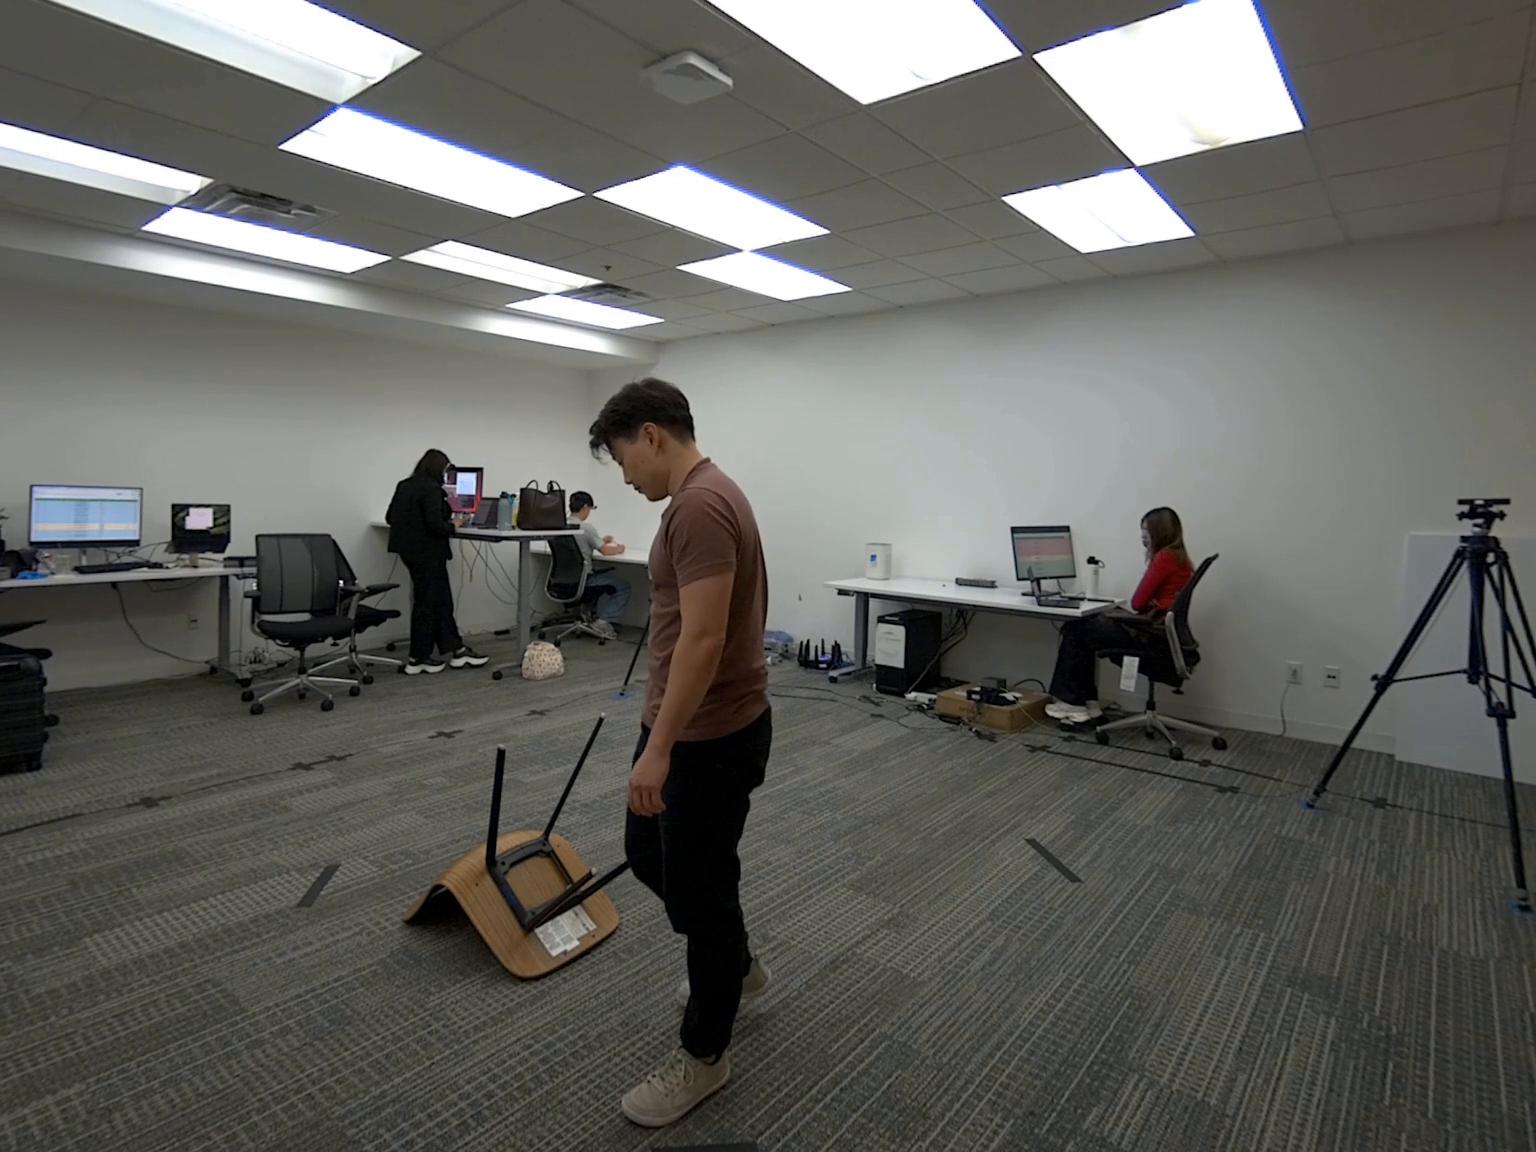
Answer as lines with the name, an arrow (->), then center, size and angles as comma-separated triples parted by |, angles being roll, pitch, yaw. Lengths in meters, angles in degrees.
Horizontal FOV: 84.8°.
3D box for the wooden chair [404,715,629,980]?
wooden chair -> -0.719, 0.939, 2.619 | 0.538, 0.875, 0.466 | 47, 24, 20
